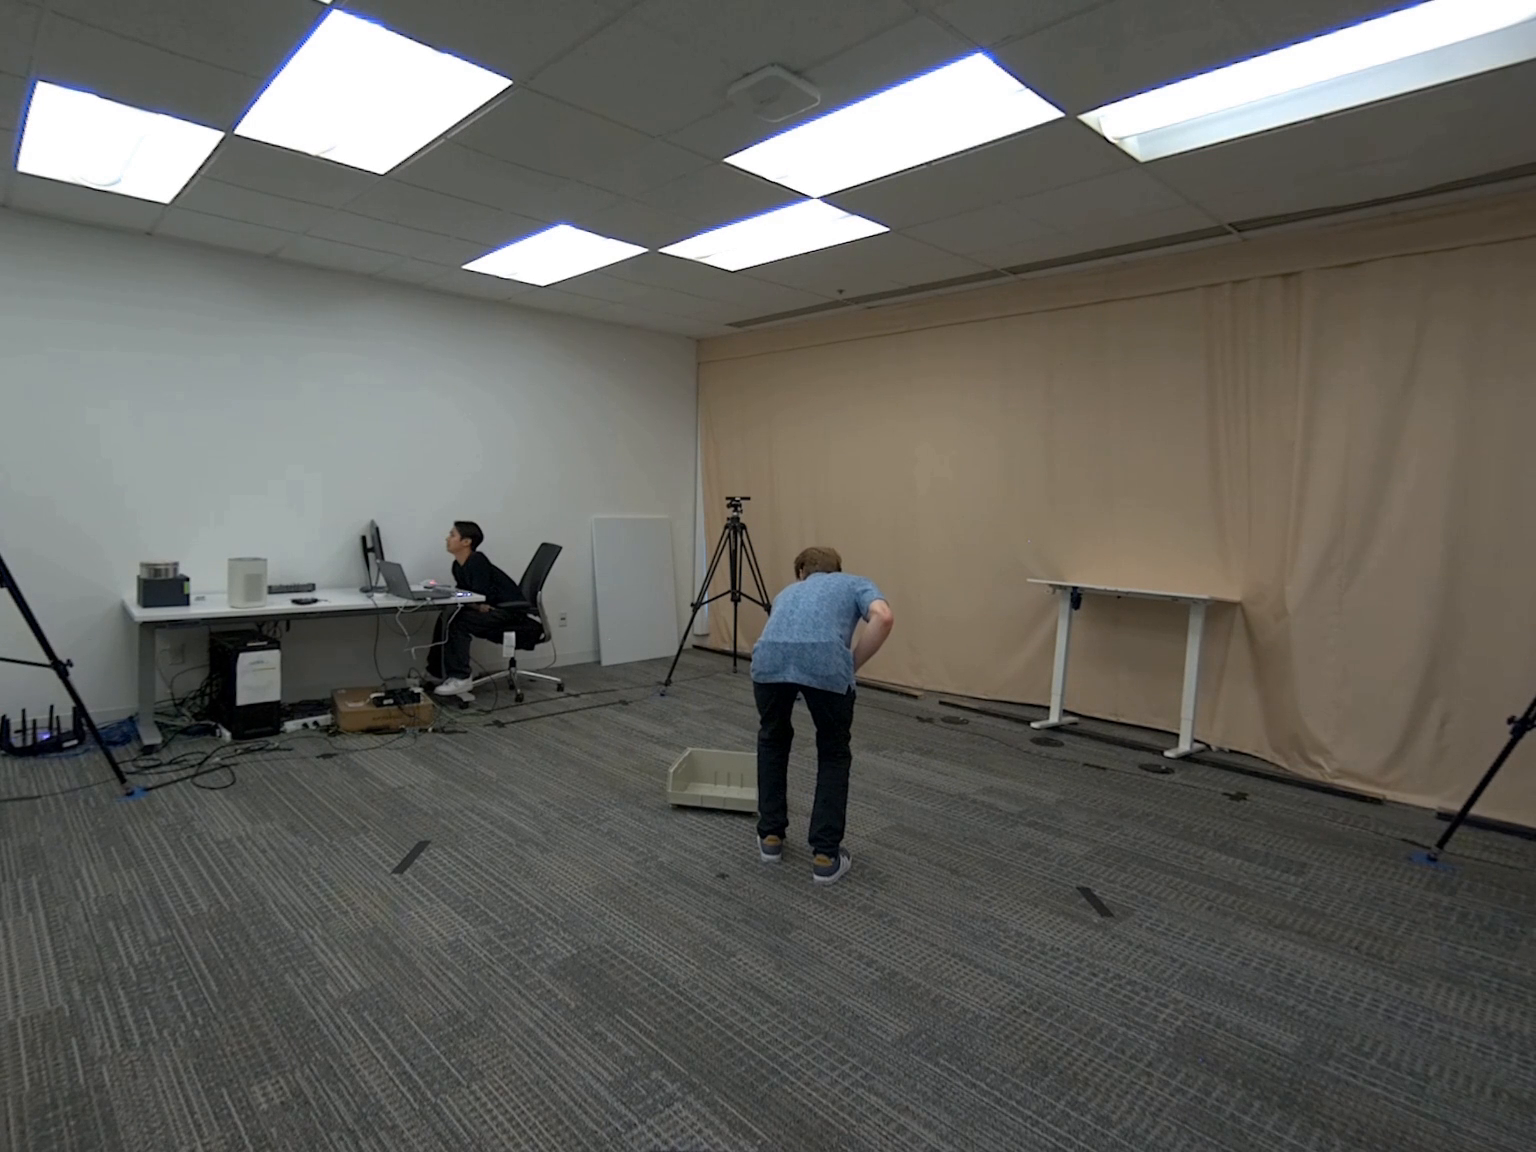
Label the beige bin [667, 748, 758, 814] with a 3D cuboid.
[{"bbox_3d":[-0.222,0.948,3.879,0.426,0.188,0.375,2,4,10],"label":"beige bin"}]
